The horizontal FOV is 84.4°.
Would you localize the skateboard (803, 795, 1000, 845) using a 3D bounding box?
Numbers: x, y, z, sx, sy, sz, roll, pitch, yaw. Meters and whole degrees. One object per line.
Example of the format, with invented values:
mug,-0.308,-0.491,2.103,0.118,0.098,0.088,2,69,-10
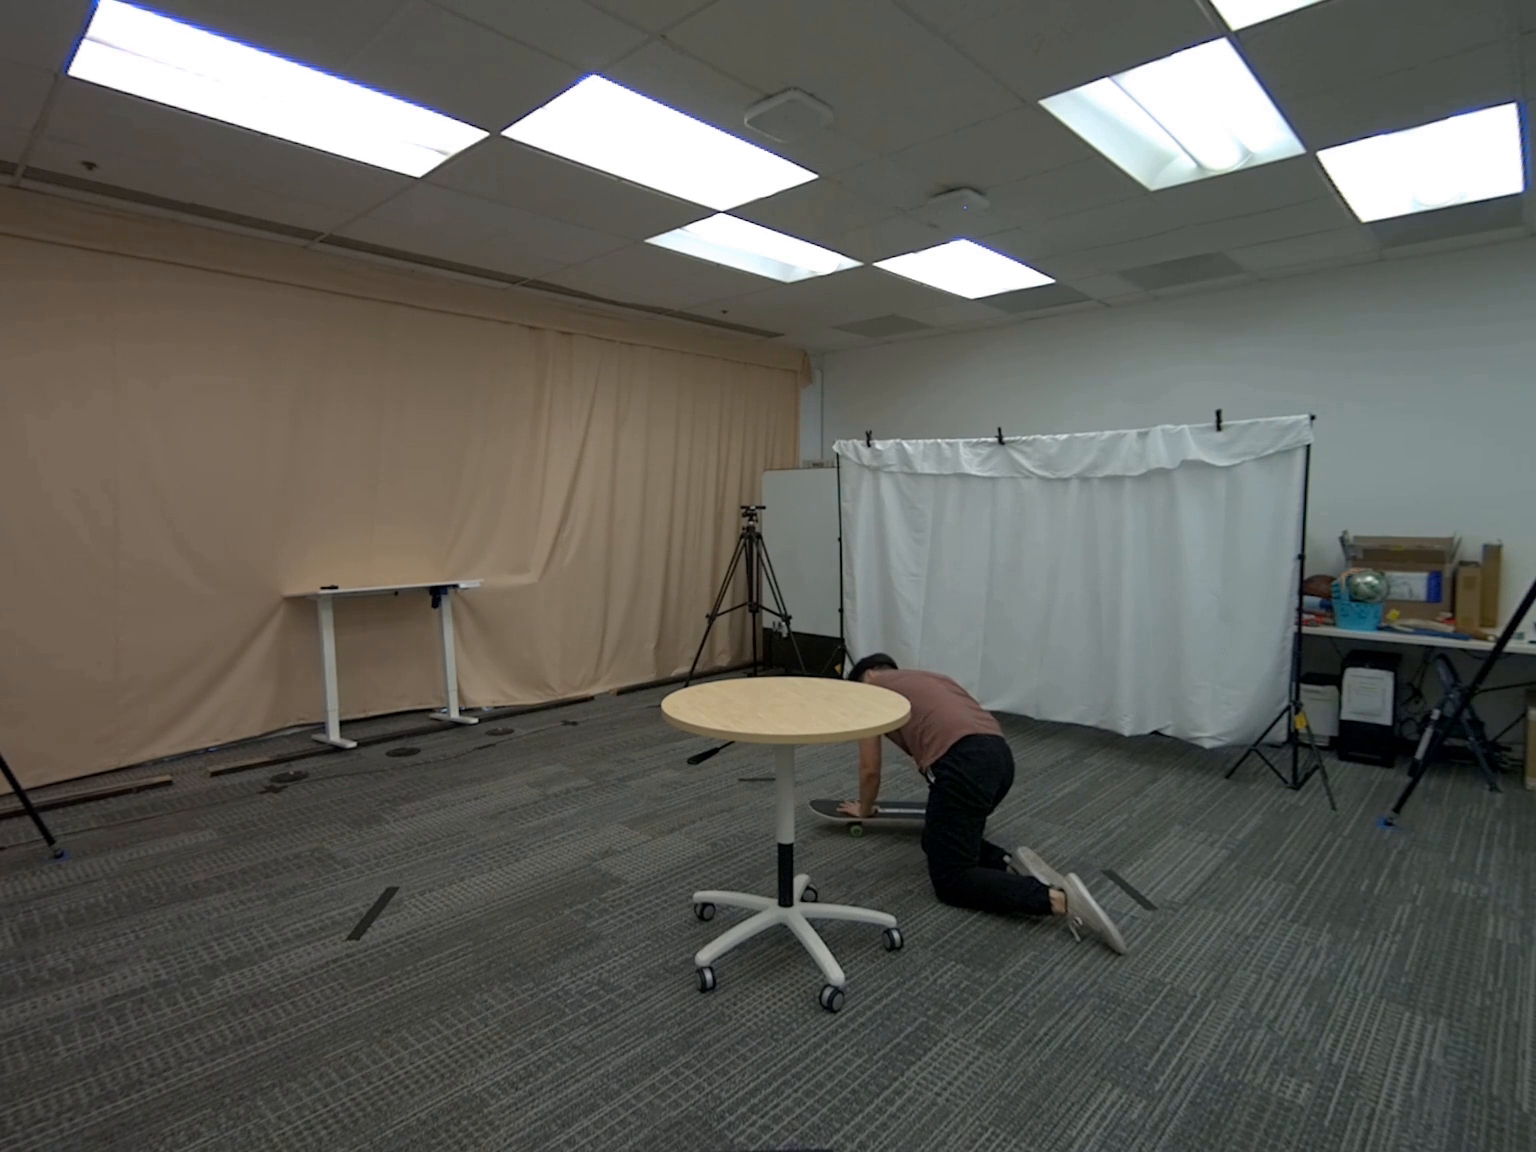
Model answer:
skateboard,0.551,1.030,3.598,0.788,0.110,0.193,1,5,2
